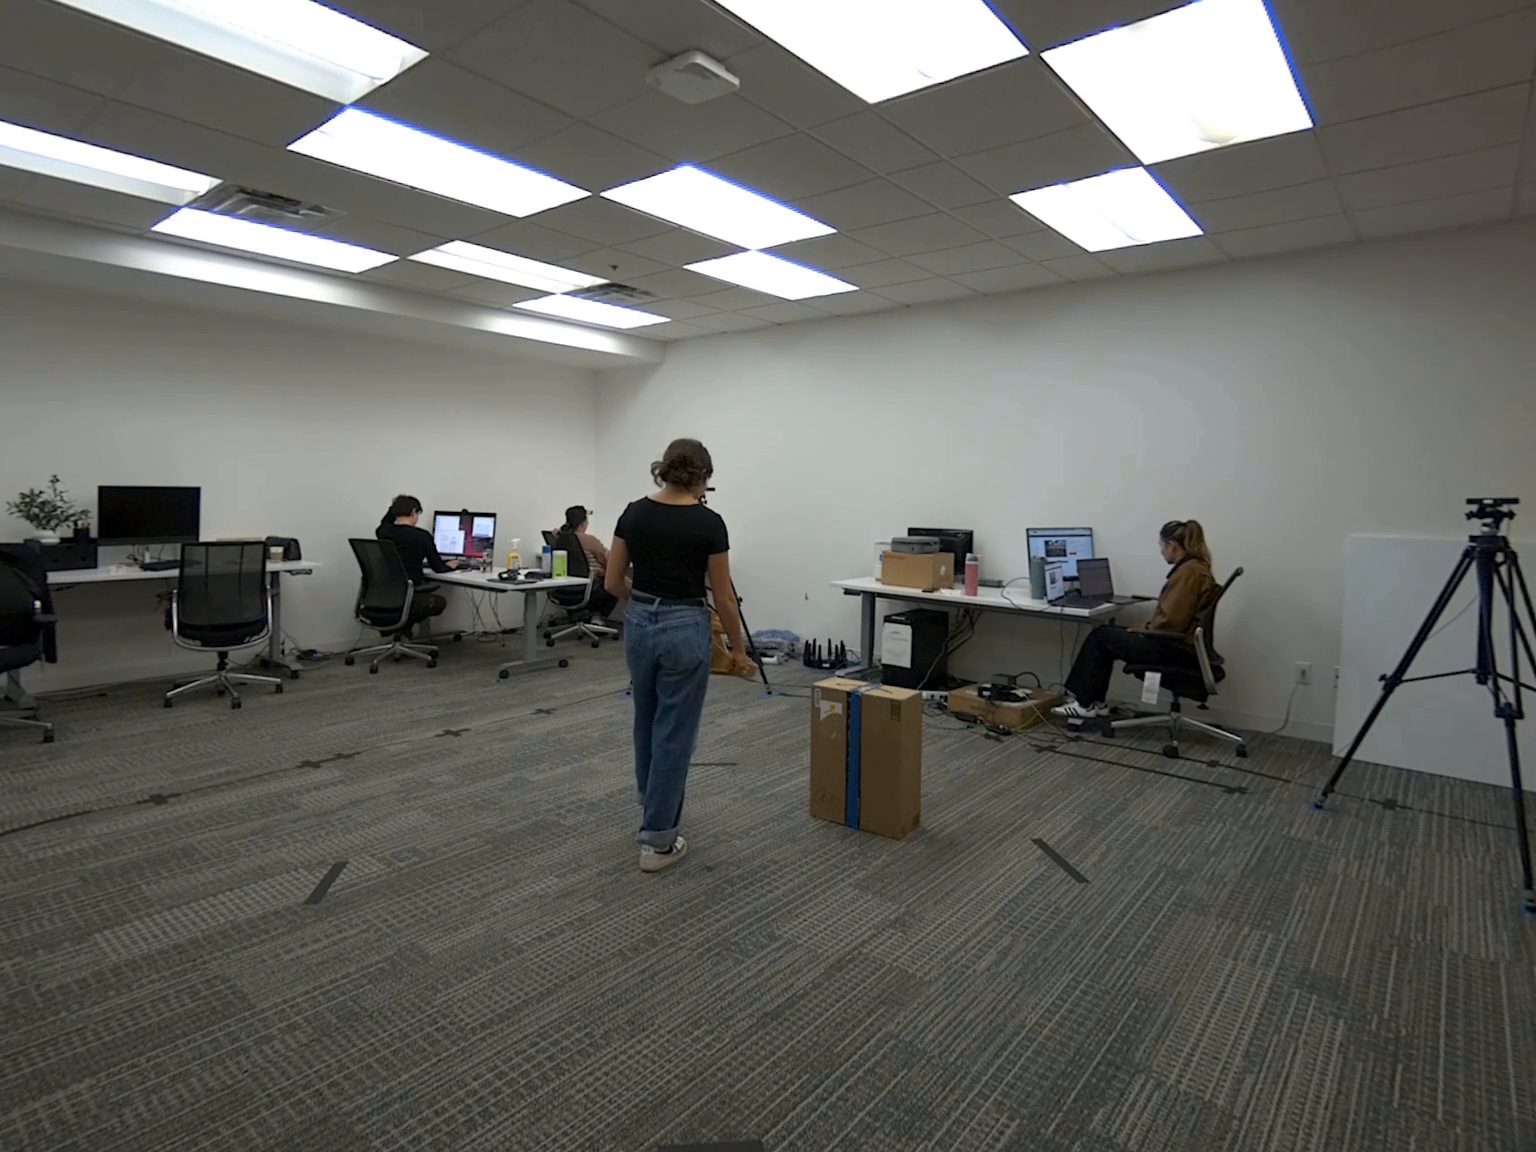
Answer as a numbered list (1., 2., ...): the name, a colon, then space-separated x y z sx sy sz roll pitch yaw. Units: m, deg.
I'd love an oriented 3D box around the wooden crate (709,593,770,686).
1. wooden crate: -0.192 0.253 3.395 0.302 0.276 0.321 15 -14 -1
